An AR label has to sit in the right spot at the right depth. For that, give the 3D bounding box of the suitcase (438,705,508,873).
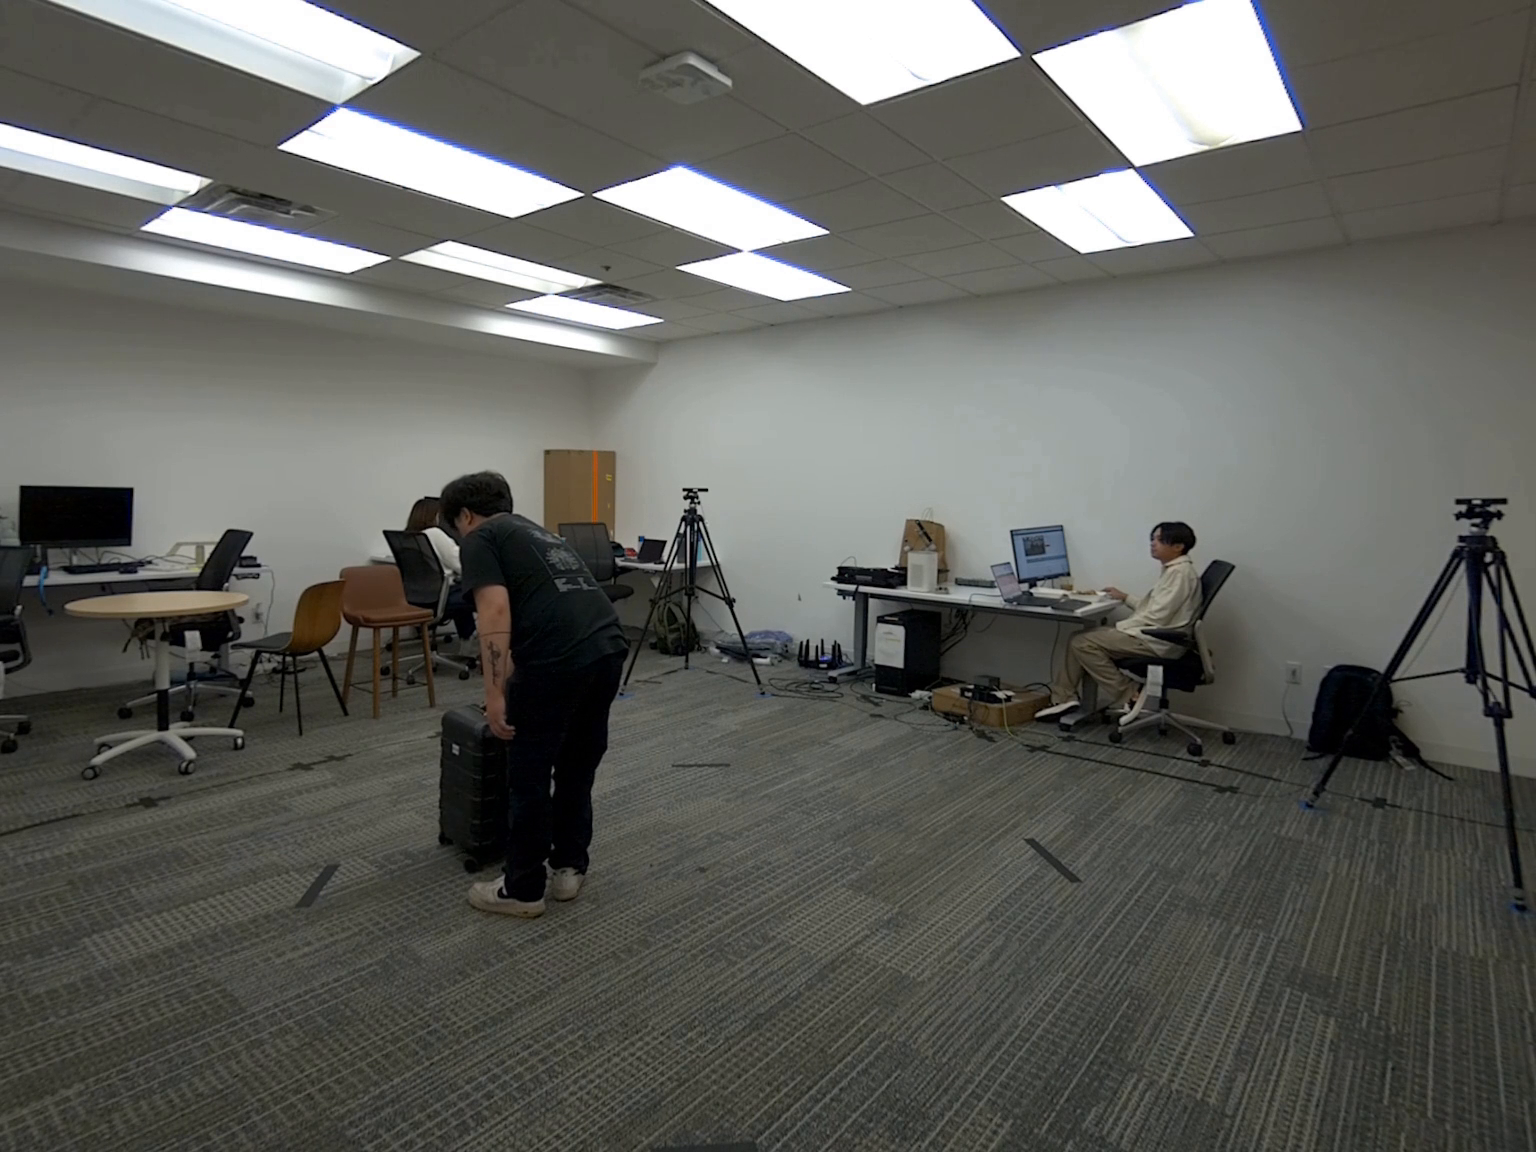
[{"bbox_3d":[-1.084,0.771,3.224,0.241,0.548,0.388,-1,5,-42],"label":"suitcase"}]
